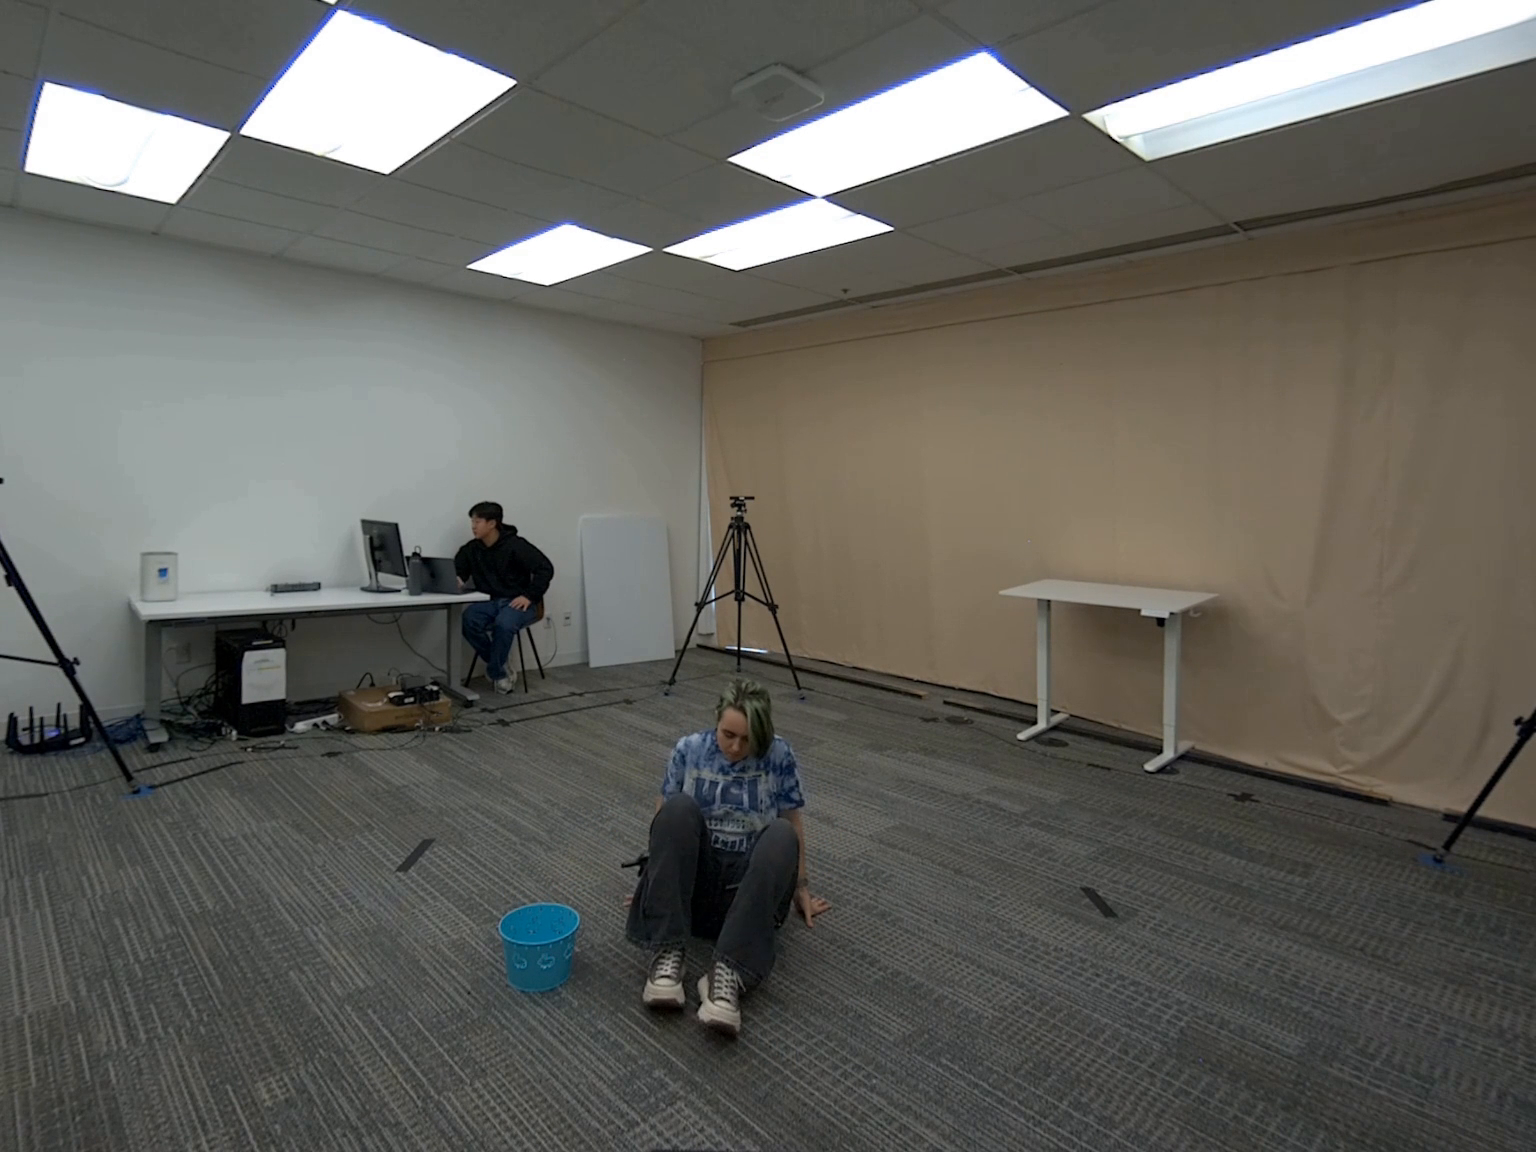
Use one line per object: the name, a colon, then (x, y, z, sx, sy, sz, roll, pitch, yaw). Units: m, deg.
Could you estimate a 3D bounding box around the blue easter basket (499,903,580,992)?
blue easter basket: (-0.659, 1.072, 2.443, 0.243, 0.155, 0.244, 1, 5, -1)
